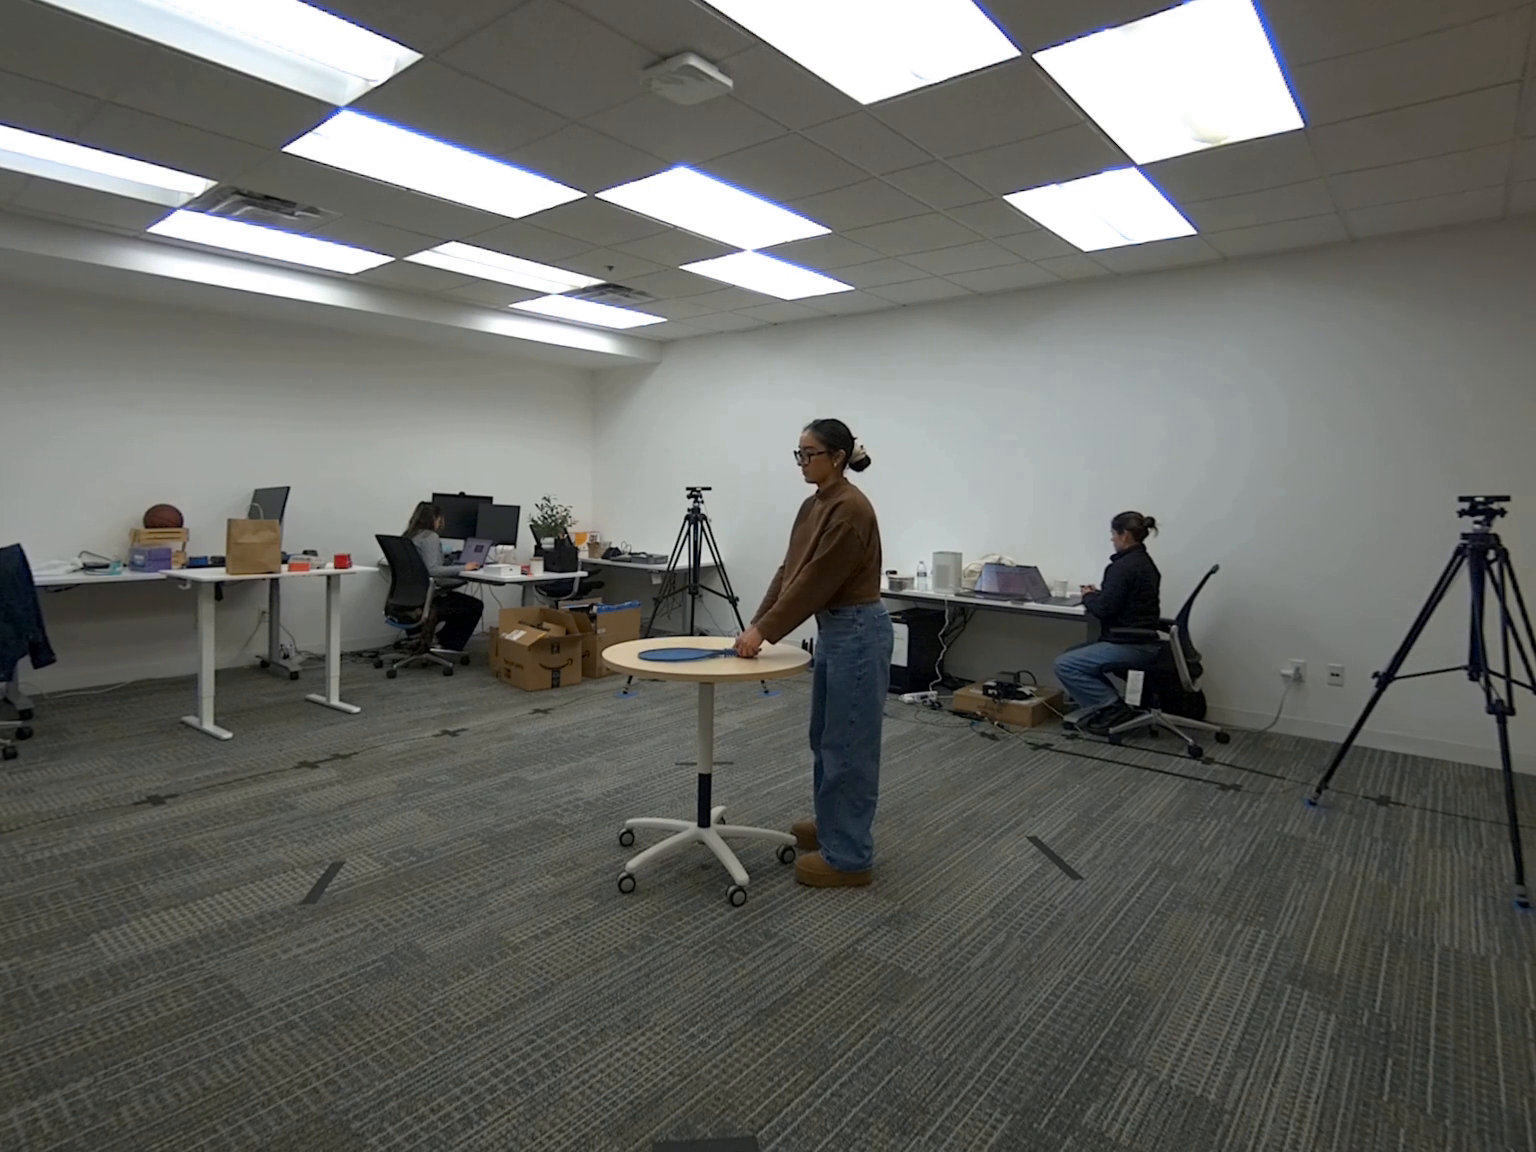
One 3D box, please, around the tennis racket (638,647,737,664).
[{"bbox_3d":[-0.262,0.279,3.057,0.432,0.031,0.215,-2,5,-2],"label":"tennis racket"}]
